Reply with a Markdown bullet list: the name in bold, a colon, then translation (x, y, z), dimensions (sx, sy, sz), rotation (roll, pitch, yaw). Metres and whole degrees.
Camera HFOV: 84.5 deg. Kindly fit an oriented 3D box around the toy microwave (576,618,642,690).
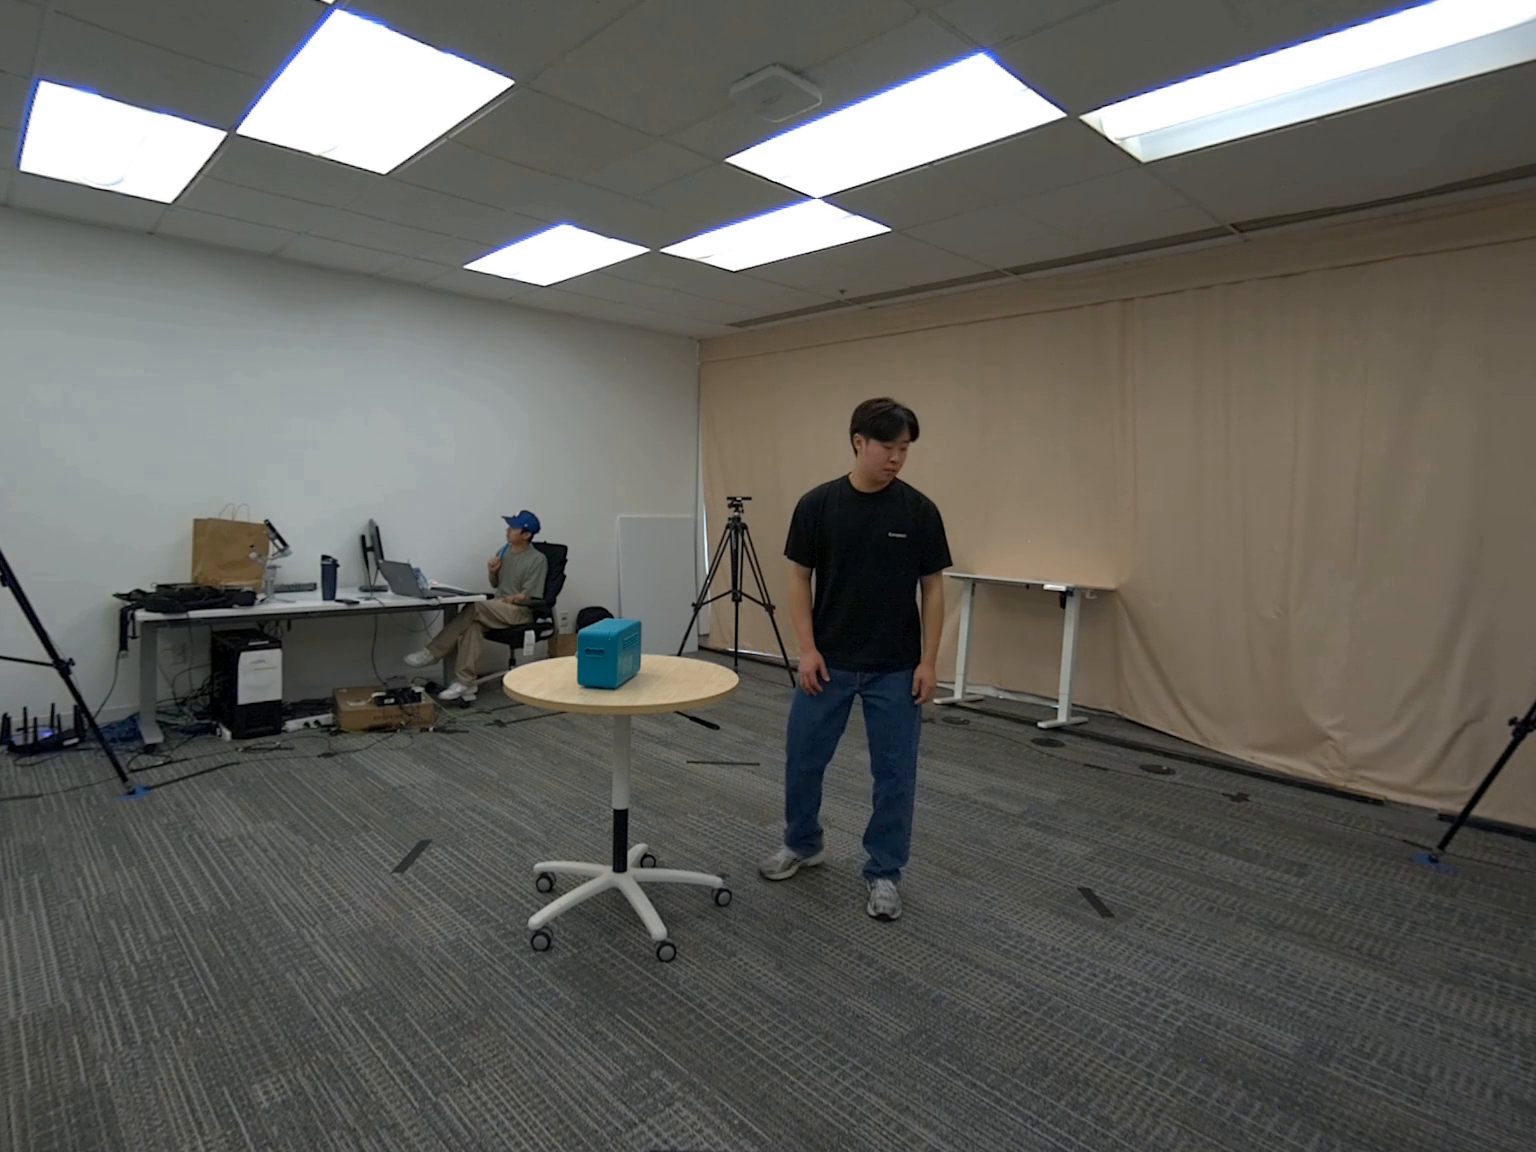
- **toy microwave**: translation (-0.517, 0.244, 2.700), dimensions (0.153, 0.184, 0.284), rotation (1, 4, 8)
